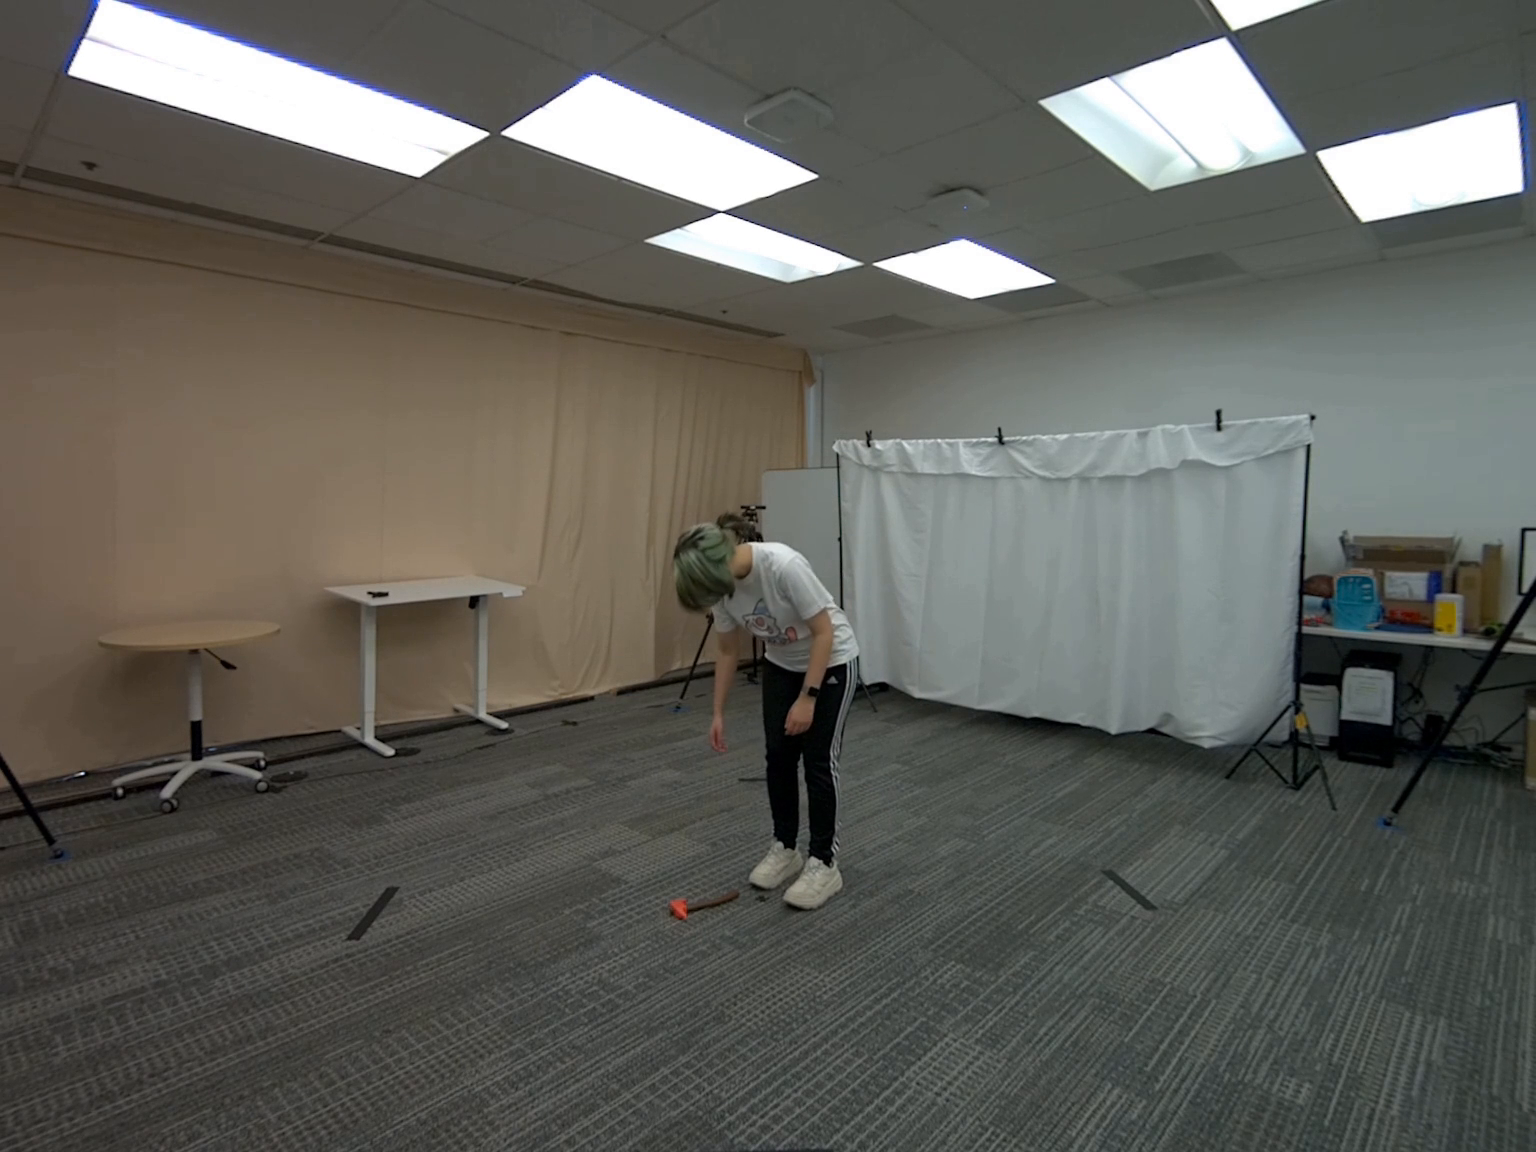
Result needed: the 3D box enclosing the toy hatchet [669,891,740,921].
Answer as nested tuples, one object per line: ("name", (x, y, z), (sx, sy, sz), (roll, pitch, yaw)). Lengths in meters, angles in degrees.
("toy hatchet", (-0.235, 1.138, 2.946), (0.262, 0.029, 0.135), (-2, 3, -43))
